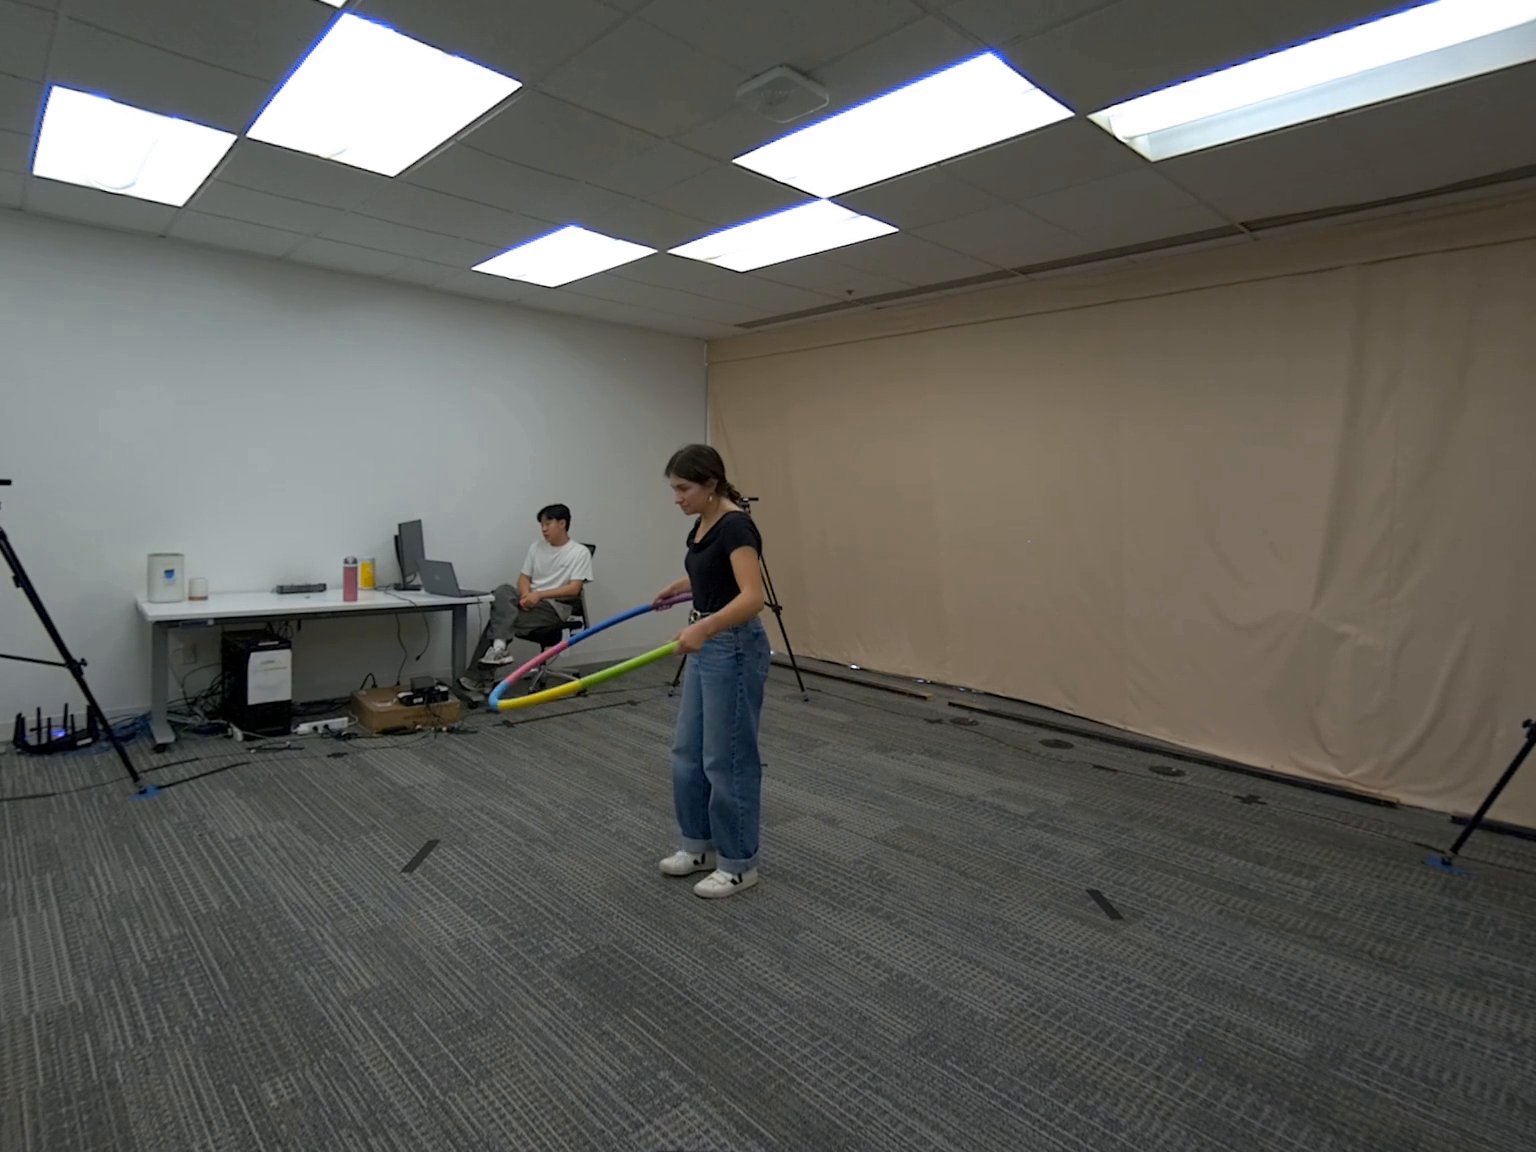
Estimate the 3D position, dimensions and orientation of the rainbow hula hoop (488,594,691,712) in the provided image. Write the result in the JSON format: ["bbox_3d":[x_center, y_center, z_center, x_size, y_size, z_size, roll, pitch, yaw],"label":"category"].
[{"bbox_3d":[-0.503,0.221,2.993,0.980,0.035,0.987,-22,11,3],"label":"rainbow hula hoop"}]
